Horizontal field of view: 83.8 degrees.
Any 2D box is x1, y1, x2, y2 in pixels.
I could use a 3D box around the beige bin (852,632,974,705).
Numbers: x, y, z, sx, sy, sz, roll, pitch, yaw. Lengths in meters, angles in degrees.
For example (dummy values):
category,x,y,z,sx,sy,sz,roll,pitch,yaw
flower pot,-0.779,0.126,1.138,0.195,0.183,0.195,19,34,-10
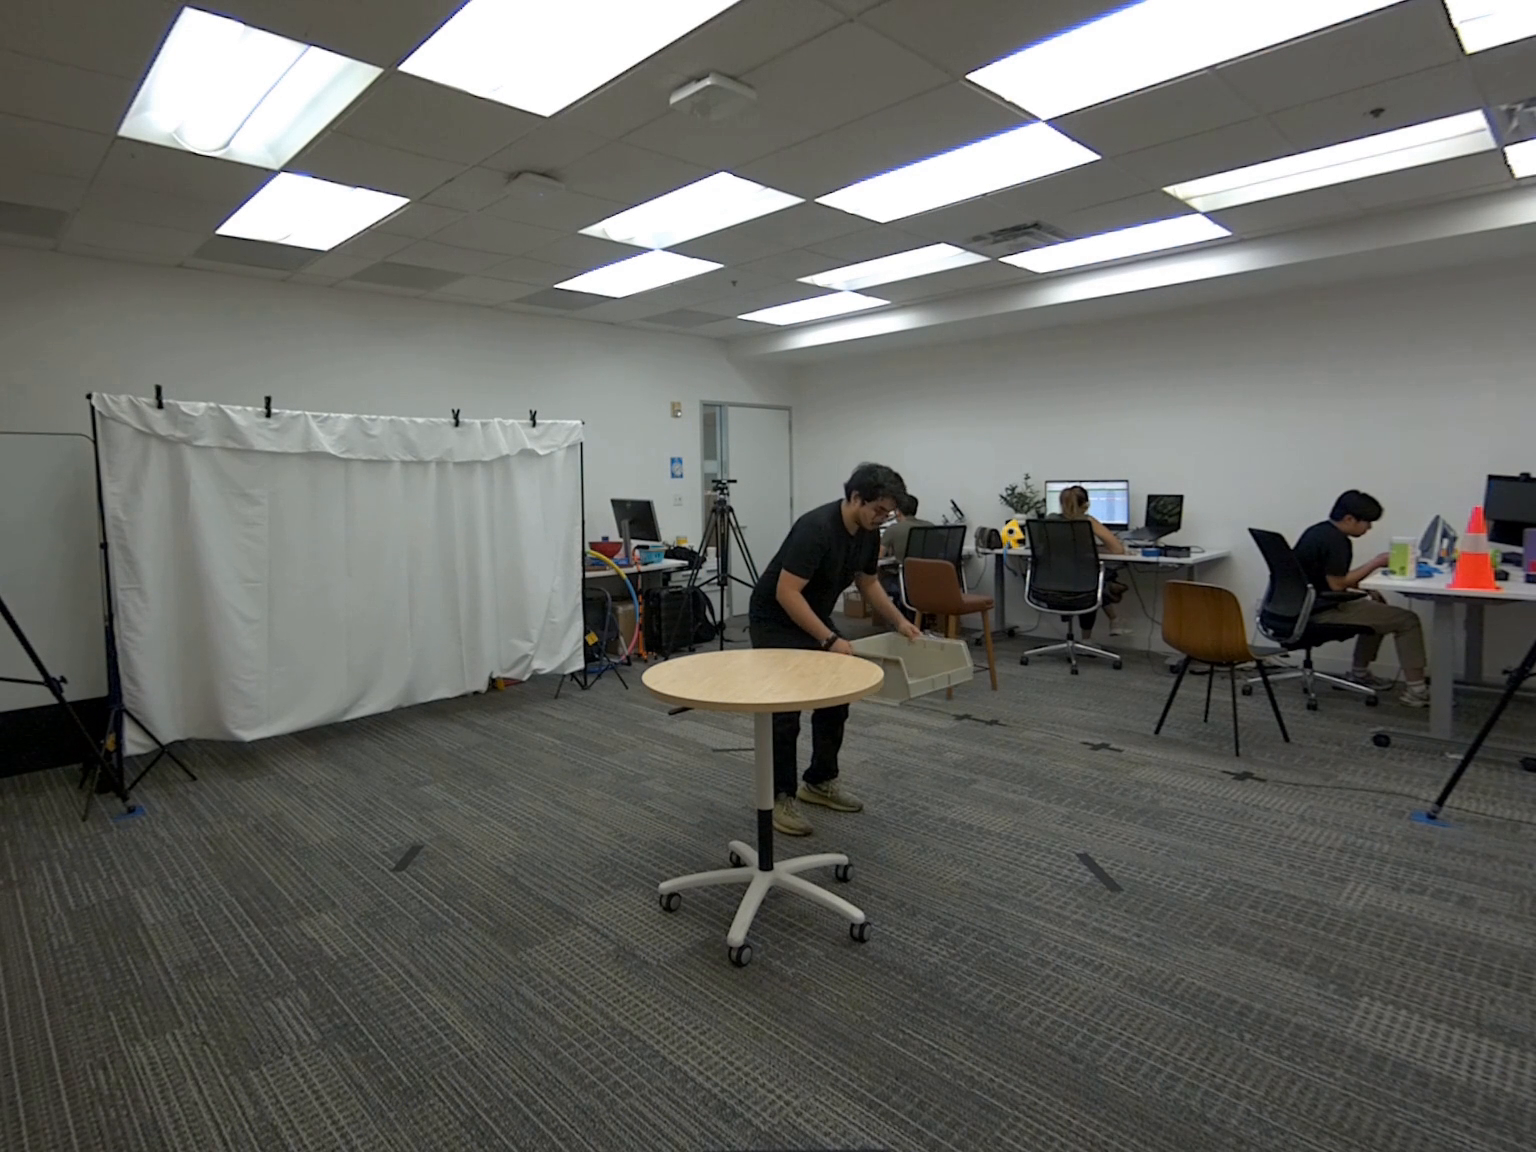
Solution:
category,x,y,z,sx,sy,sz,roll,pitch,yaw
beige bin,0.495,0.346,3.252,0.411,0.188,0.388,-8,7,-43
